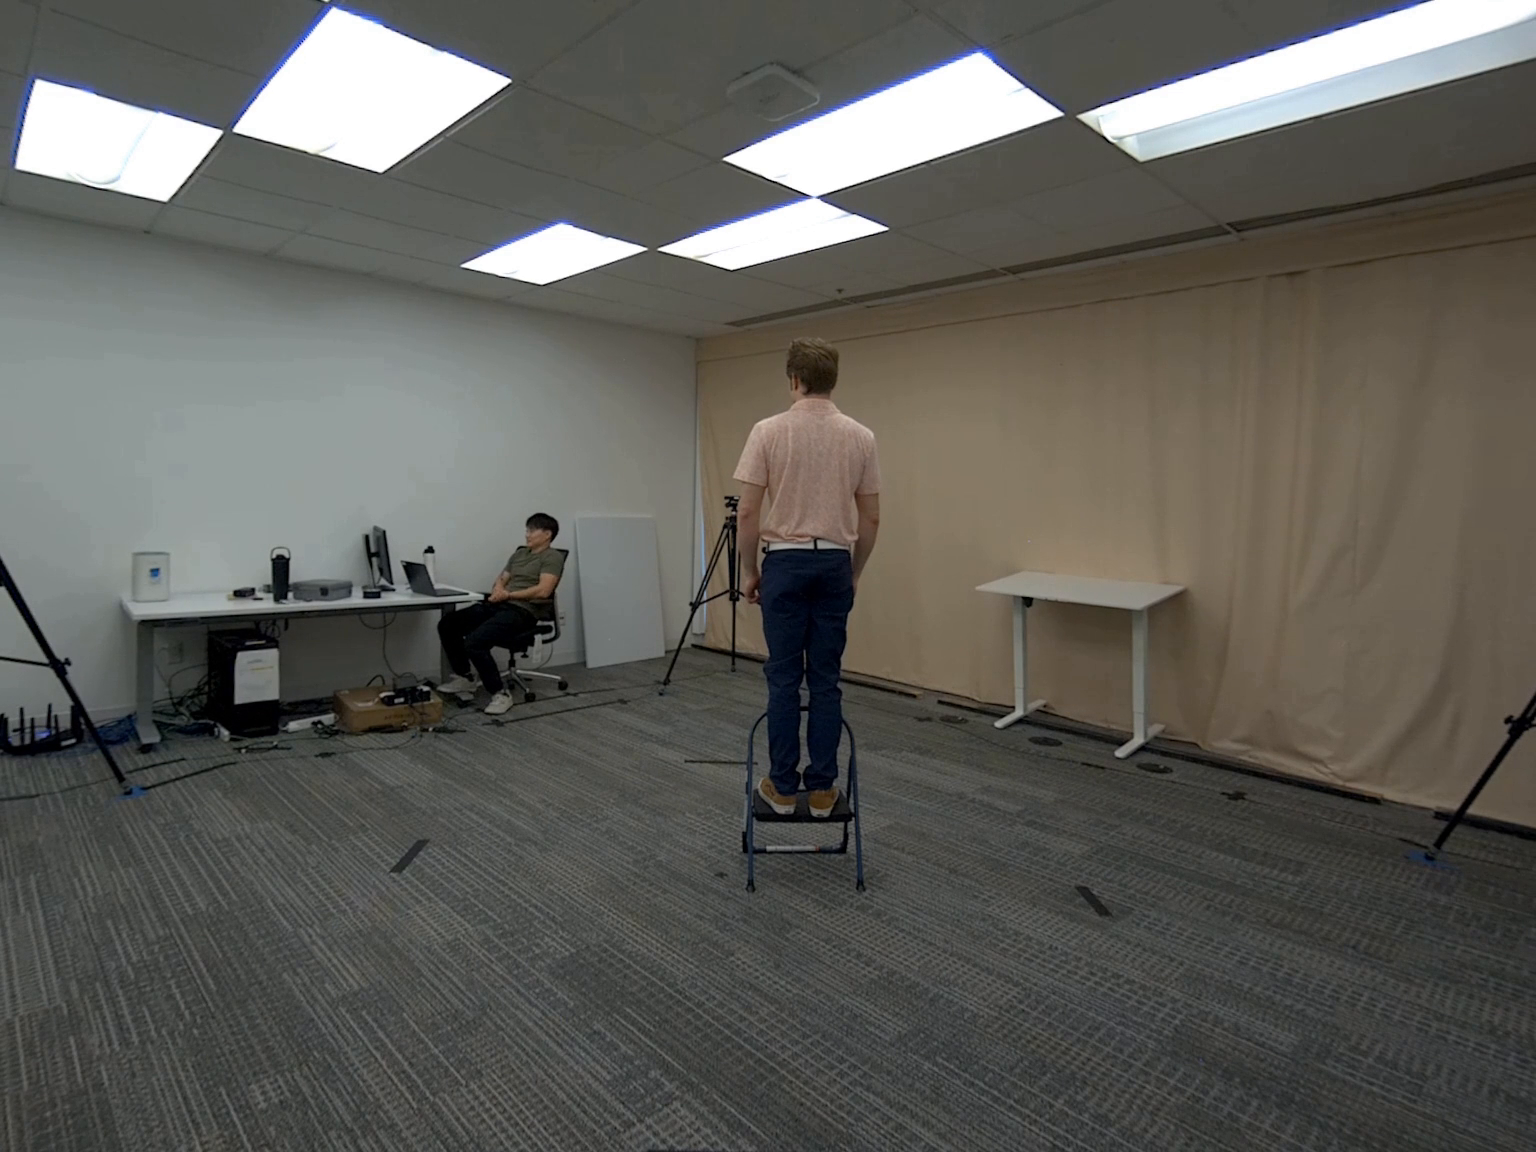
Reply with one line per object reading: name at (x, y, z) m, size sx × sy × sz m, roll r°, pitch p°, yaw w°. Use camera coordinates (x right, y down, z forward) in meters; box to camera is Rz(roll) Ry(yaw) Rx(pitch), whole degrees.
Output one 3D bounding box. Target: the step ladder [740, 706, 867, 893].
step ladder at (0.122, 0.807, 3.150) m, size 0.429 × 0.604 × 0.351 m, roll 1°, pitch 4°, yaw -5°
